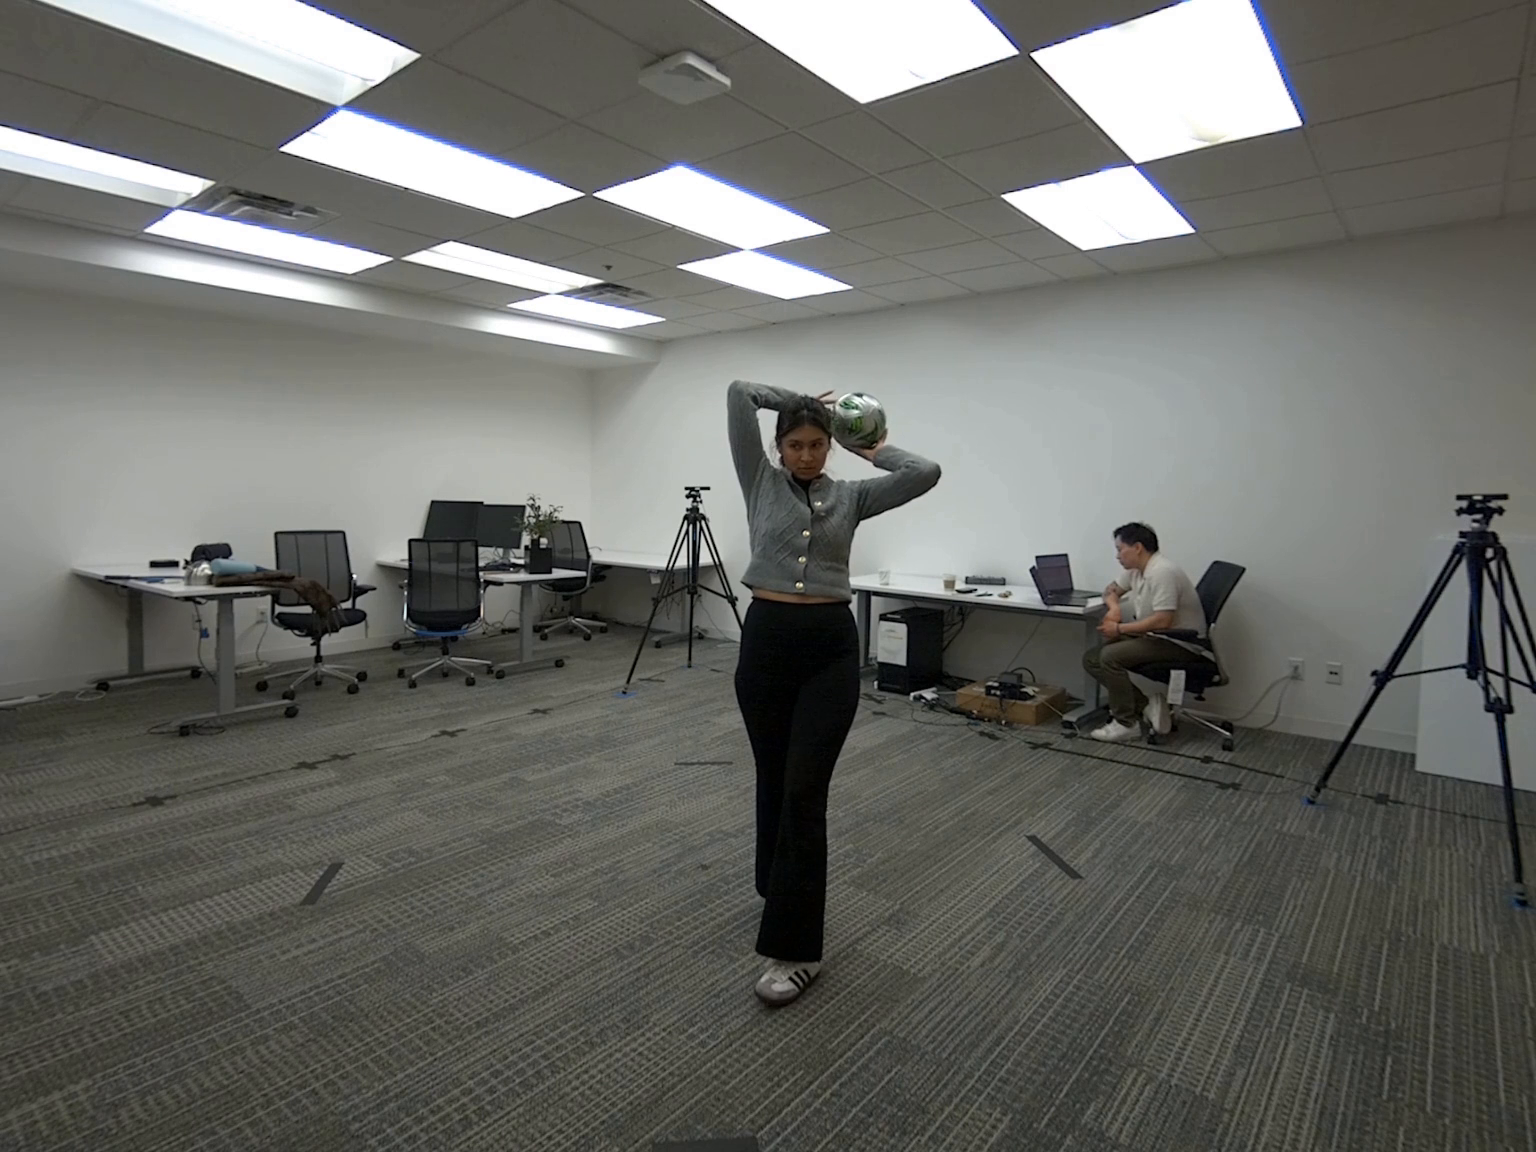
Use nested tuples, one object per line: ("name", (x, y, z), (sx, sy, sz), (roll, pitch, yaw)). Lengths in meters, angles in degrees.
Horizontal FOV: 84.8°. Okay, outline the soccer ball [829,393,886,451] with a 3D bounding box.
("soccer ball", (0.284, -0.505, 2.781), (0.187, 0.187, 0.188), (0, 4, -2))
